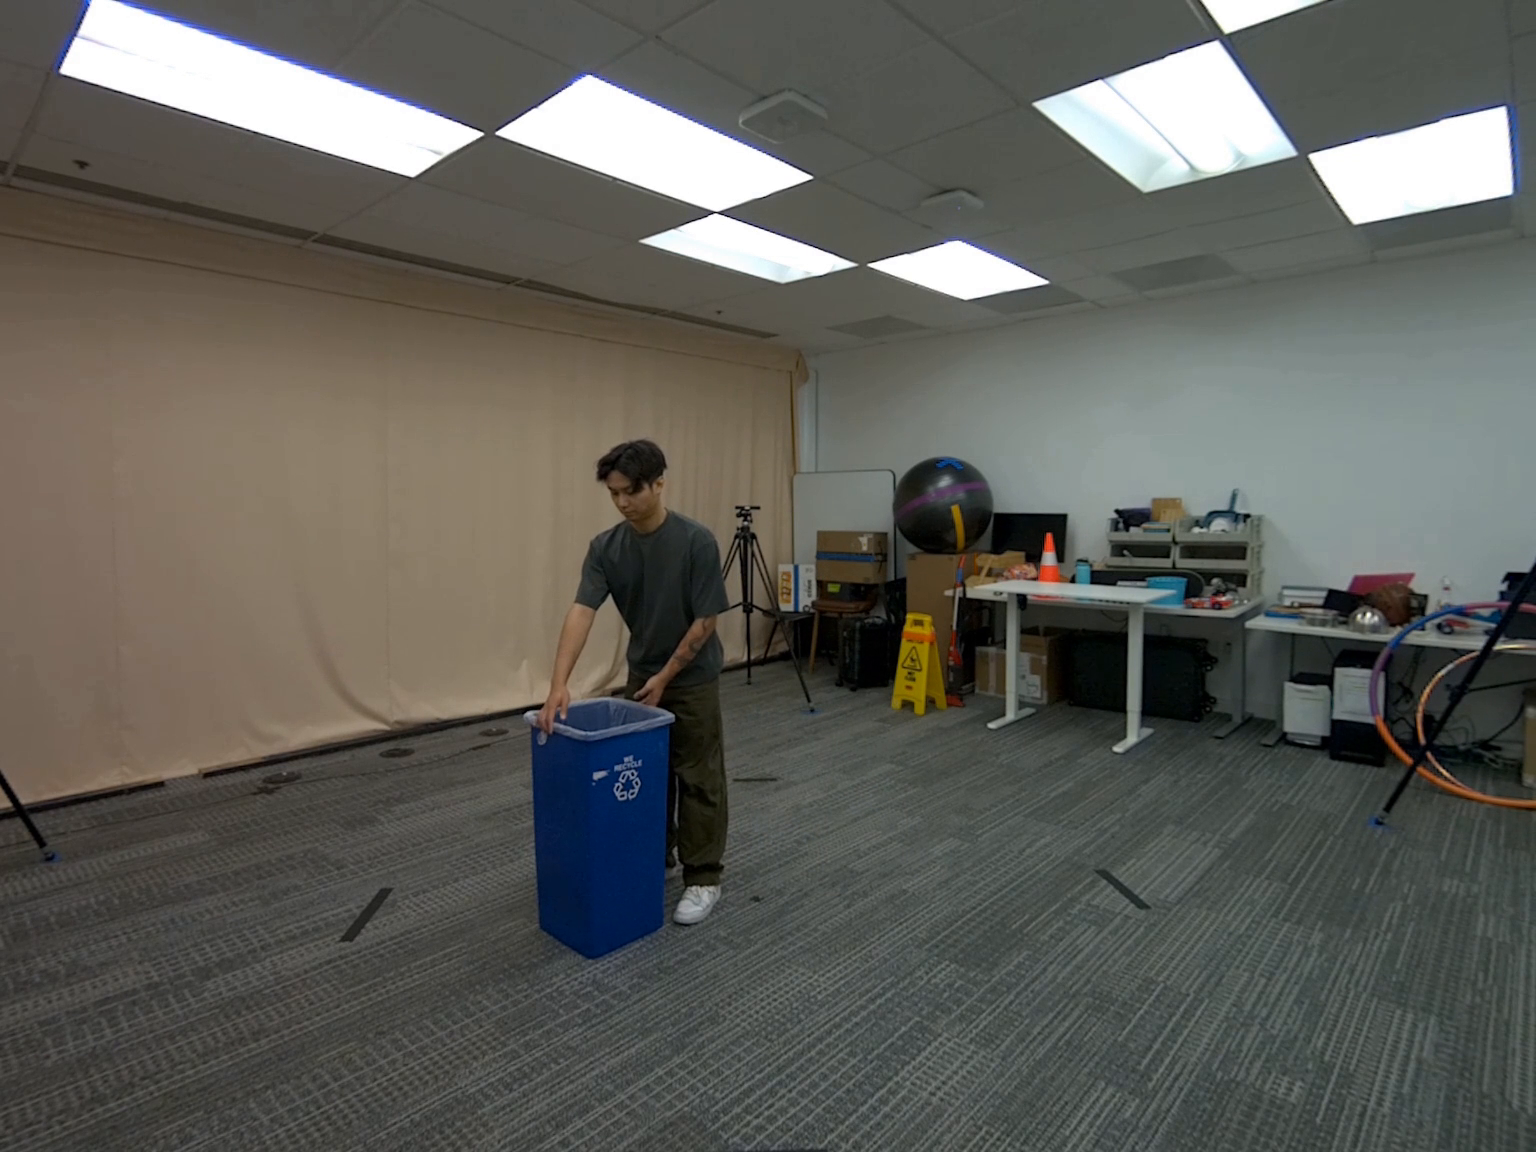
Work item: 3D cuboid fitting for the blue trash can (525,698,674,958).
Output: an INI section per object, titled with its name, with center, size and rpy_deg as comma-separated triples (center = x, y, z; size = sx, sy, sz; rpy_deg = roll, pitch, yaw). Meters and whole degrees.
[blue trash can]
center = -0.551, 0.807, 2.781
size = 0.391, 0.712, 0.363
rpy_deg = 3, 5, 43
